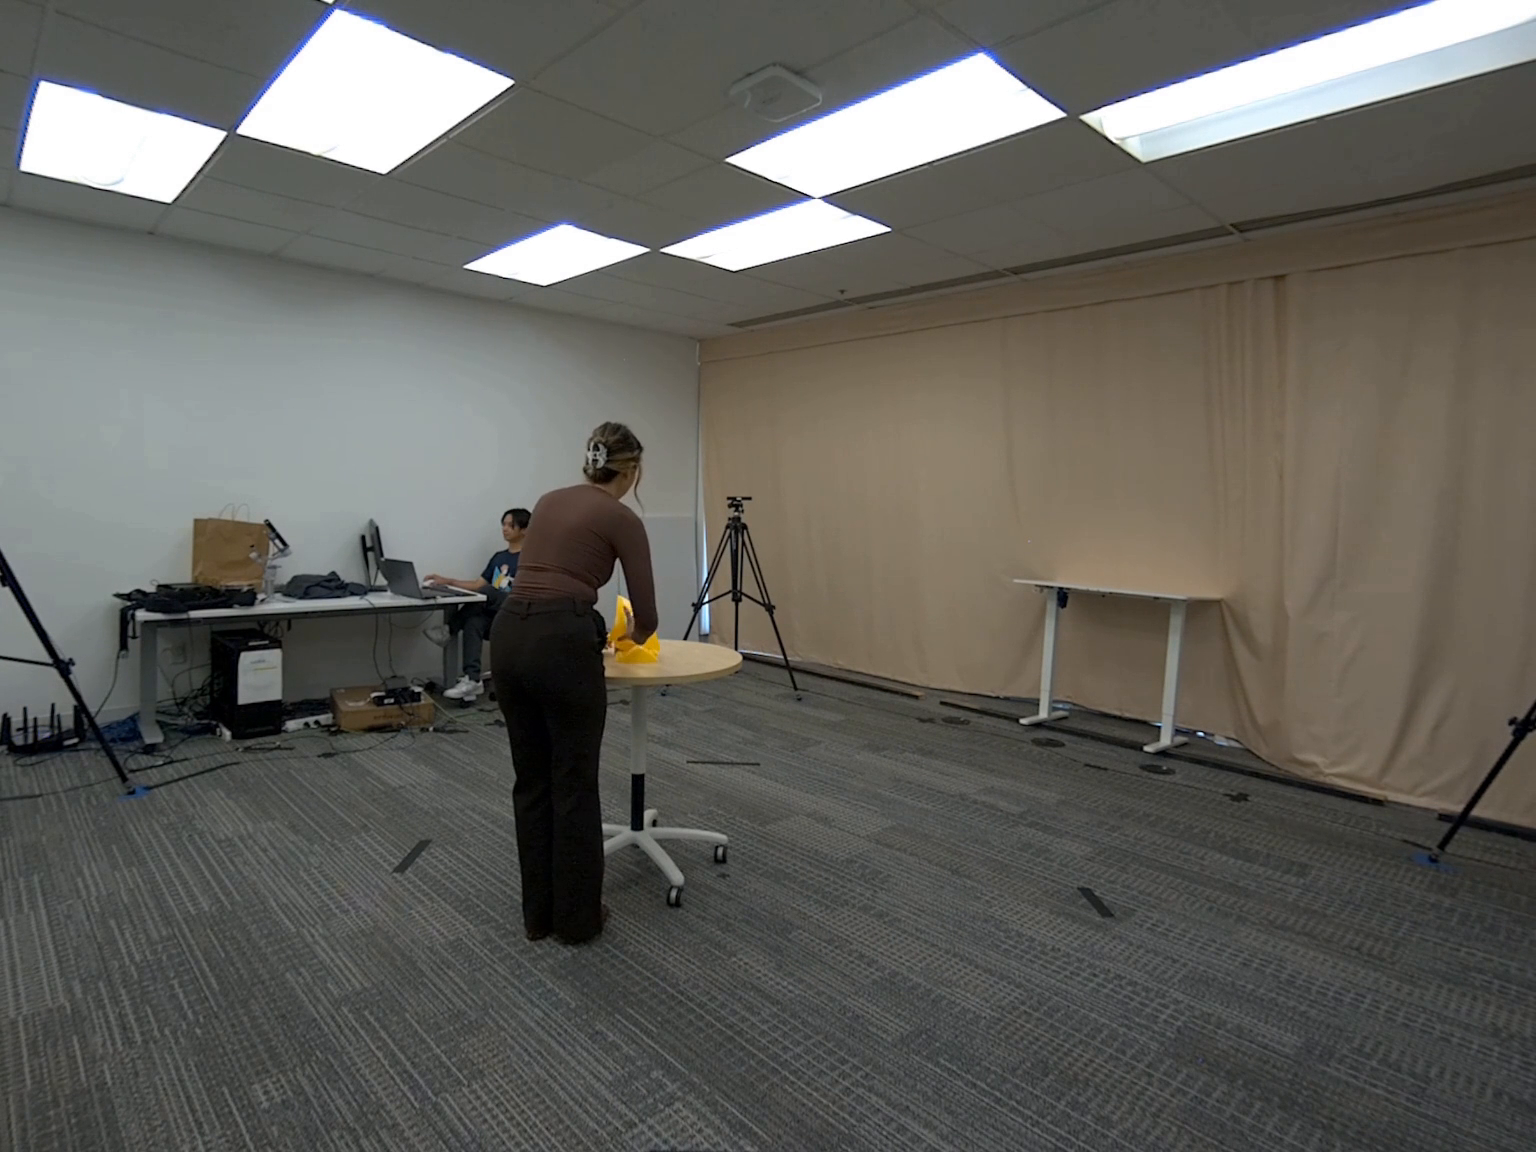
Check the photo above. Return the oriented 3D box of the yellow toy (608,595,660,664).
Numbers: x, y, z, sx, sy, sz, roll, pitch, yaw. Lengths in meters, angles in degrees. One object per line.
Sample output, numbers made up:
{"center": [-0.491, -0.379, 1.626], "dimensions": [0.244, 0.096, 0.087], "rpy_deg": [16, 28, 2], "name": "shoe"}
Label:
{"center": [-0.495, 0.188, 3.095], "dimensions": [0.192, 0.230, 0.206], "rpy_deg": [1, 3, -5], "name": "yellow toy"}
